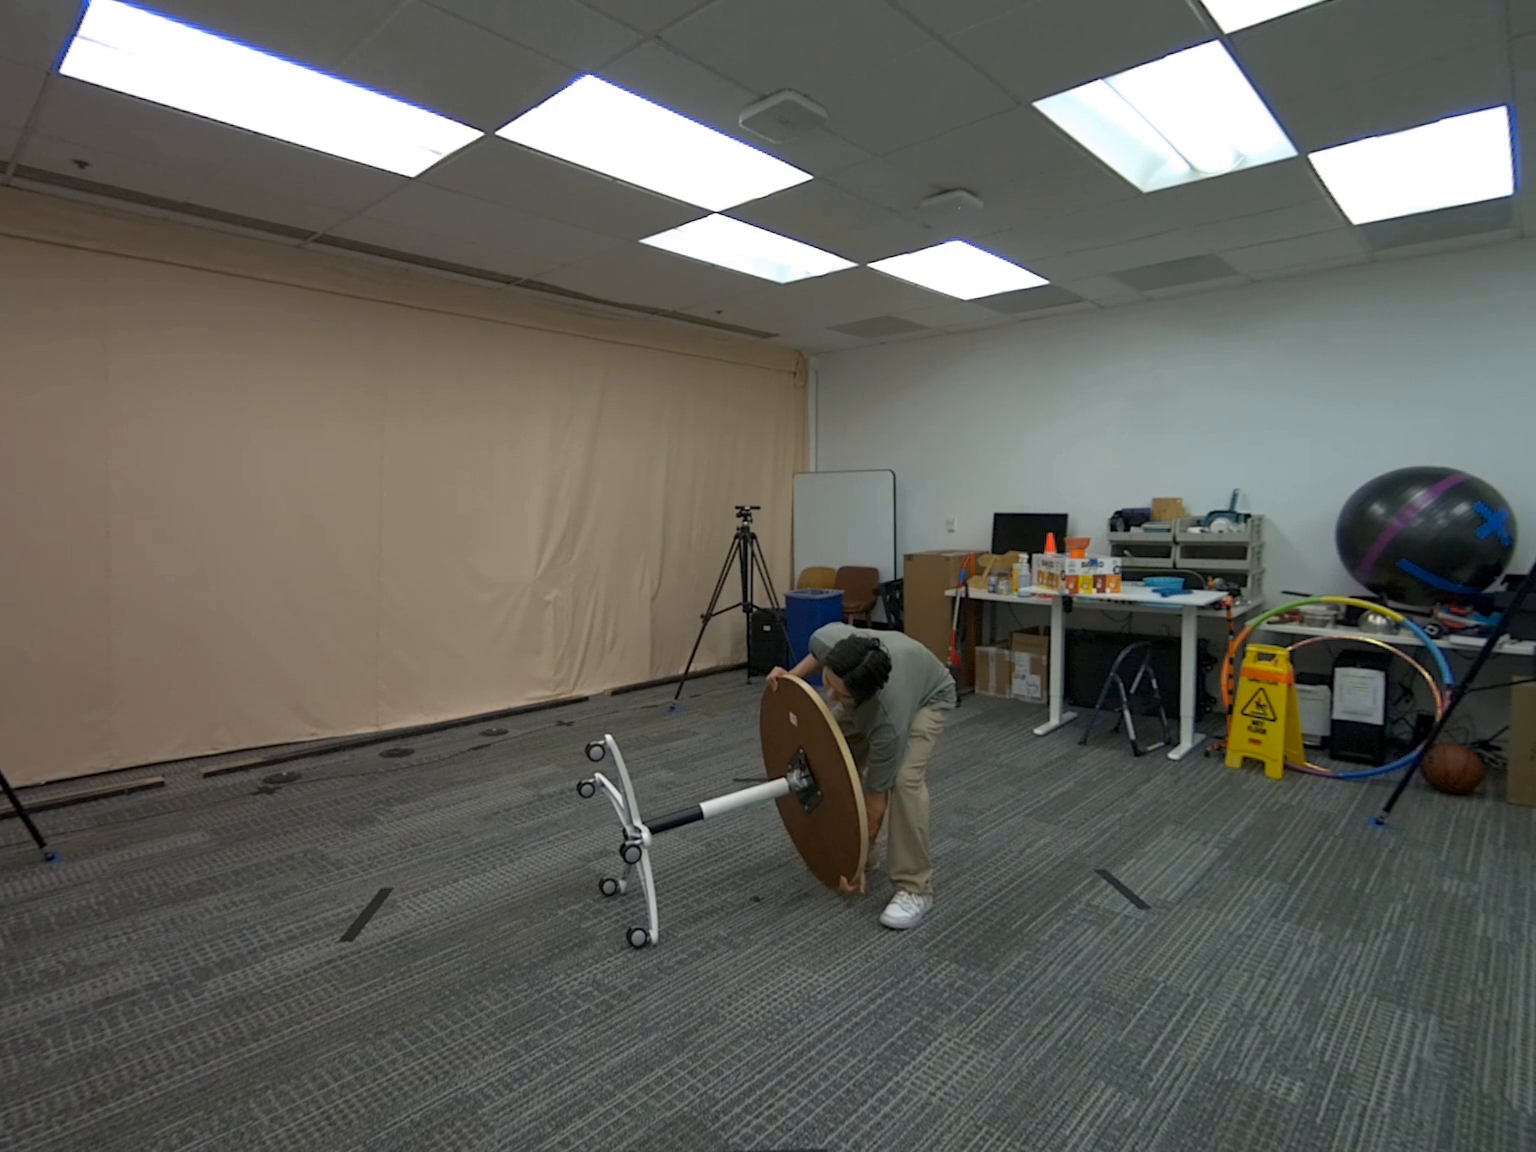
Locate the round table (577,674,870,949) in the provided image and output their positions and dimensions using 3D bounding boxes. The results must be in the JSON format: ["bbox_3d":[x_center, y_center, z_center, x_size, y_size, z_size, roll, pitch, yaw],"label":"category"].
[{"bbox_3d":[-0.202,0.810,2.946,0.772,0.781,0.804,-10,7,-21],"label":"round table"}]
